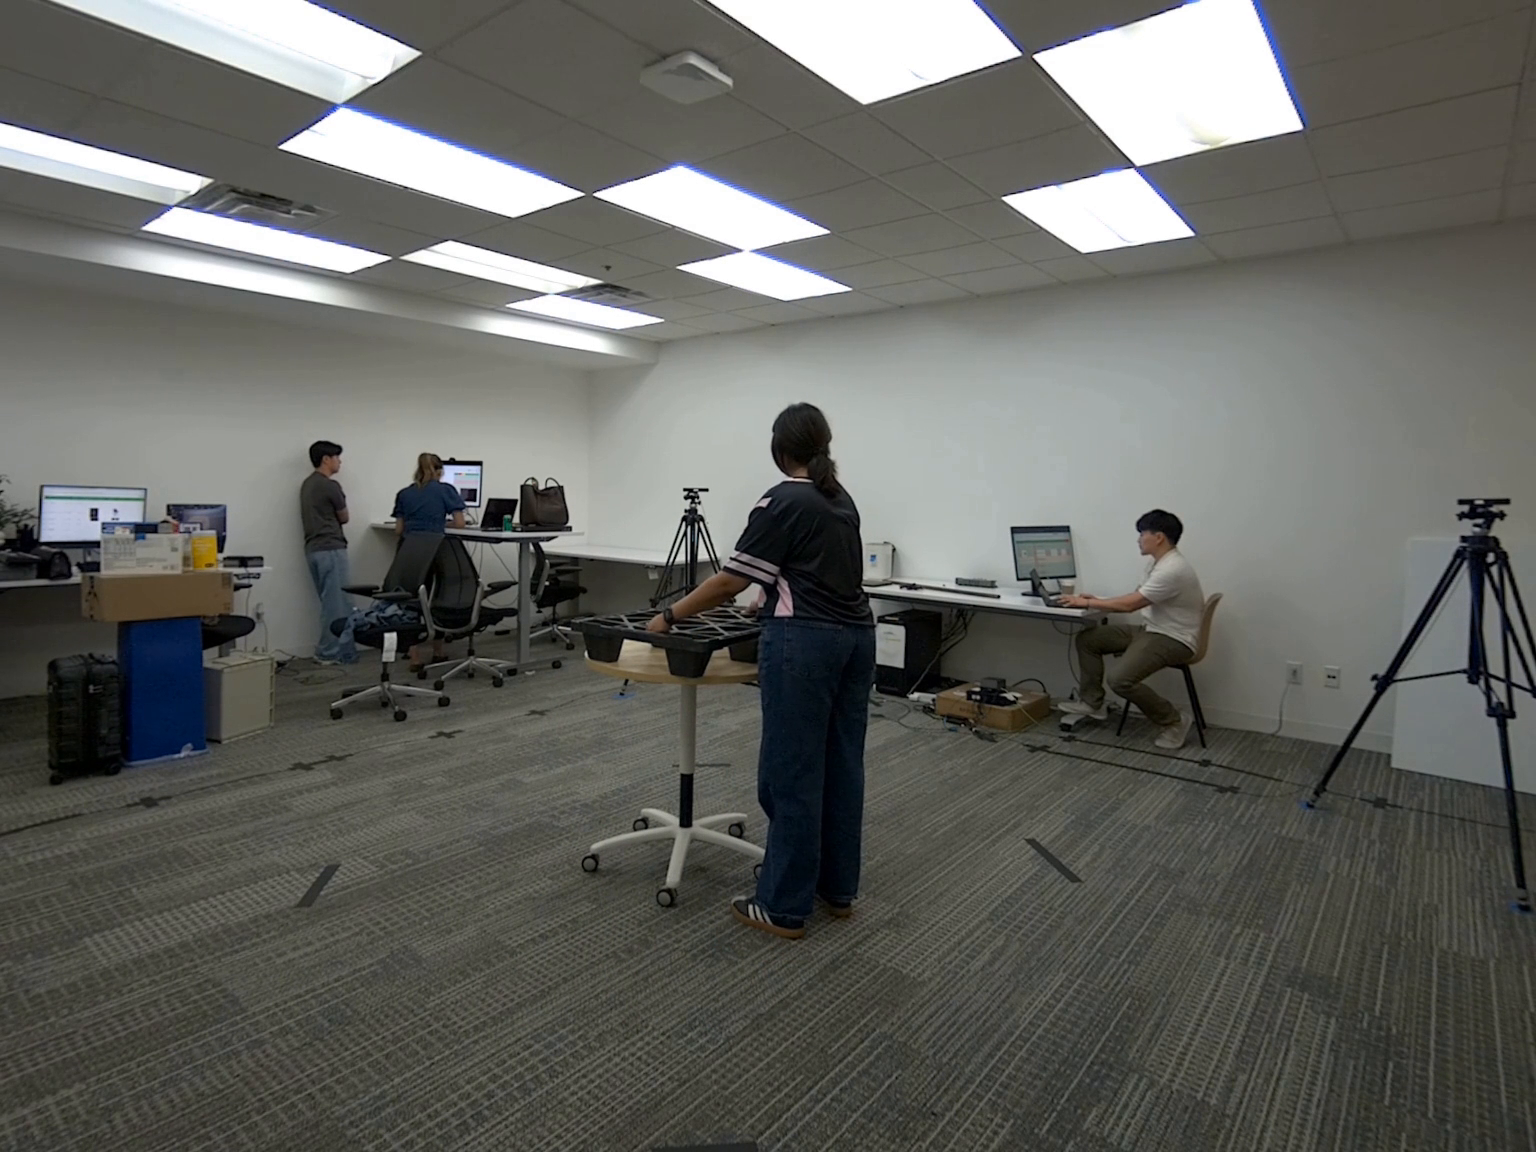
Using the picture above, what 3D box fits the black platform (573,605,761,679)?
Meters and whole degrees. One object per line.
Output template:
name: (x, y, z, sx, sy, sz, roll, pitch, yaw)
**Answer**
black platform: (-0.235, 0.215, 3.127, 0.625, 0.143, 0.783, 5, 7, 34)
